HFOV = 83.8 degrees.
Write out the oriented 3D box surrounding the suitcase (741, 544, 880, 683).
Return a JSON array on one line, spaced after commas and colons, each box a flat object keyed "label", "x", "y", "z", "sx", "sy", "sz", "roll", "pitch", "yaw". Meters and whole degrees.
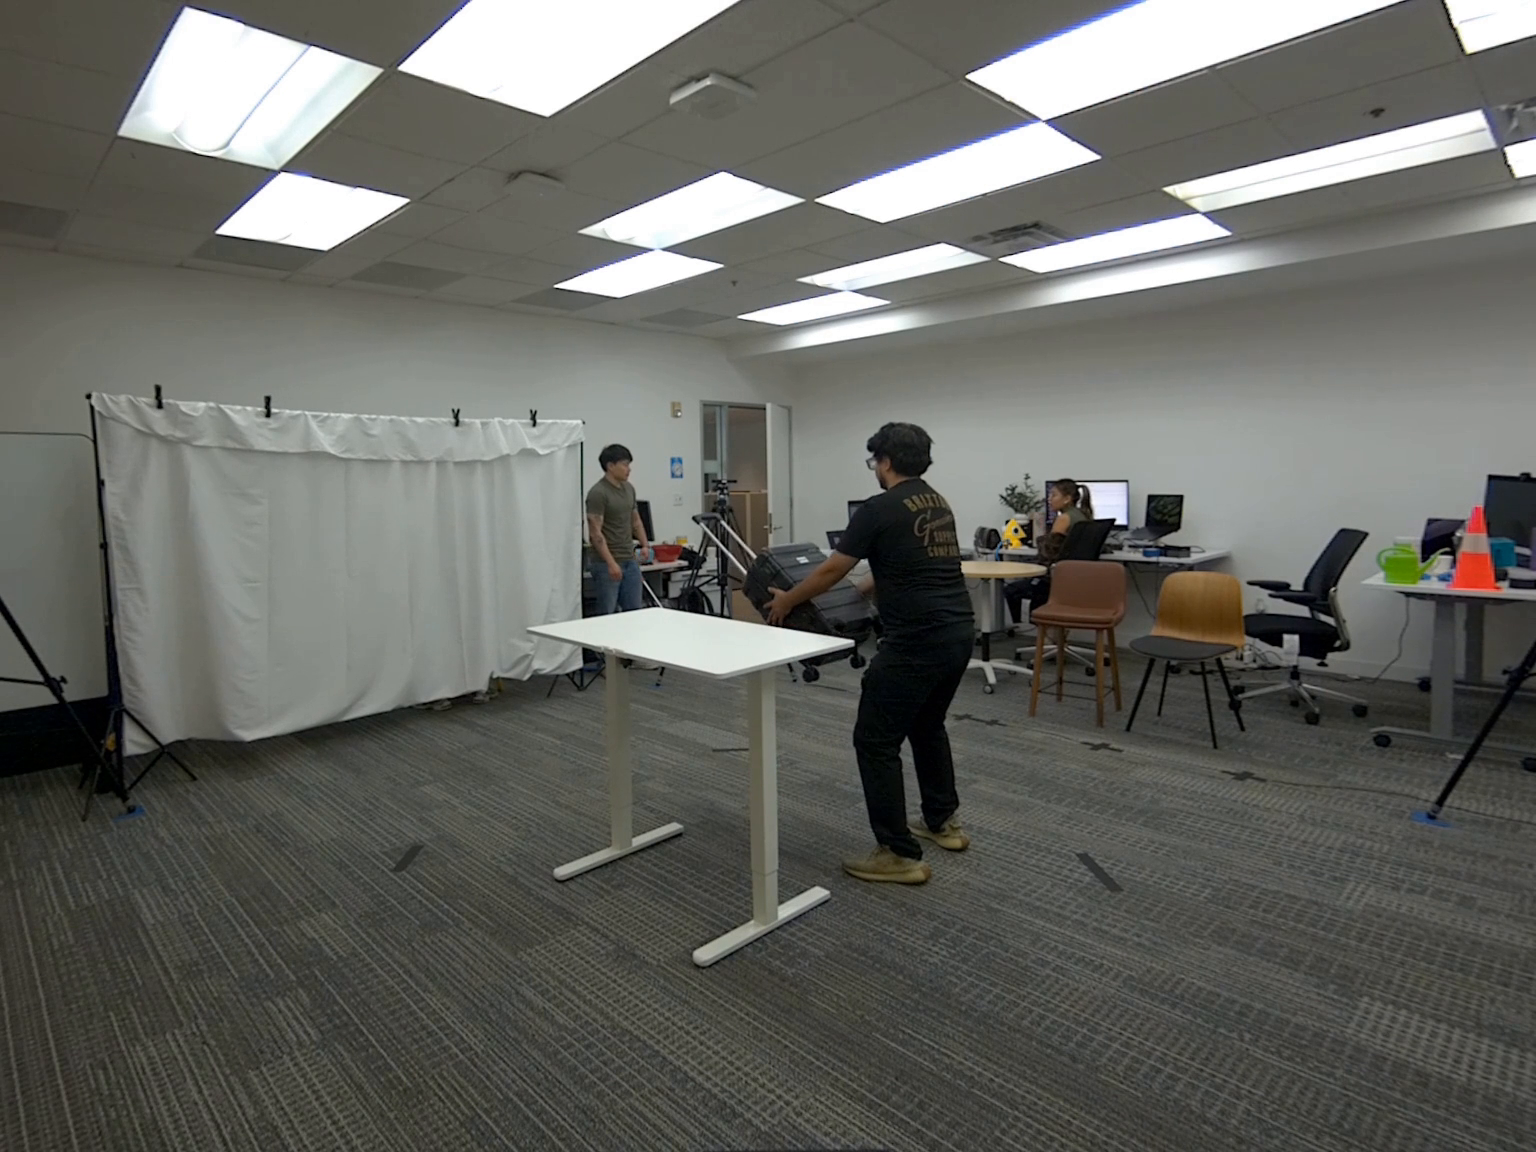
[{"label": "suitcase", "x": 0.062, "y": -0.022, "z": 3.607, "sx": 0.374, "sy": 0.255, "sz": 1.013, "roll": -7, "pitch": 48, "yaw": -43}]
